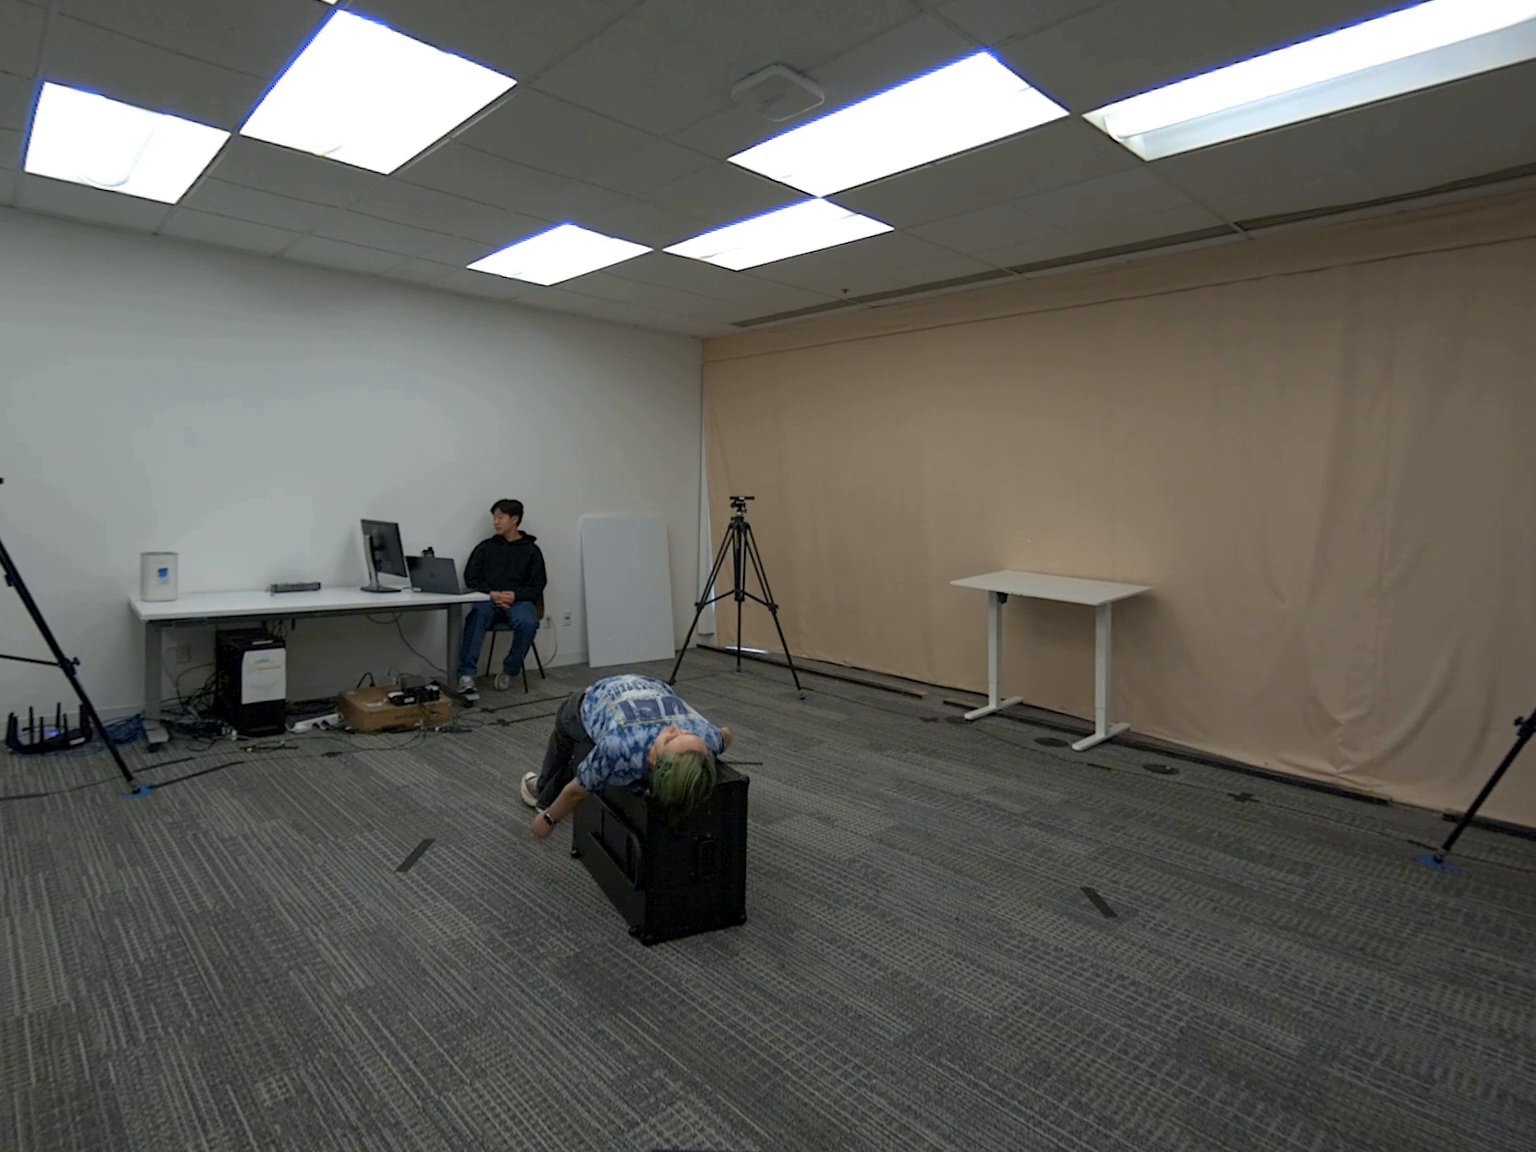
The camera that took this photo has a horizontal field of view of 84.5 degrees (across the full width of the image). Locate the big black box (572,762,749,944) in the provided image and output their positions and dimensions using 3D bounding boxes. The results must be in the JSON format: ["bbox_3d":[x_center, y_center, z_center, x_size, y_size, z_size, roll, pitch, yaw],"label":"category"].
[{"bbox_3d":[-0.442,0.864,3.022,0.389,0.520,0.880,-1,5,-28],"label":"big black box"}]
